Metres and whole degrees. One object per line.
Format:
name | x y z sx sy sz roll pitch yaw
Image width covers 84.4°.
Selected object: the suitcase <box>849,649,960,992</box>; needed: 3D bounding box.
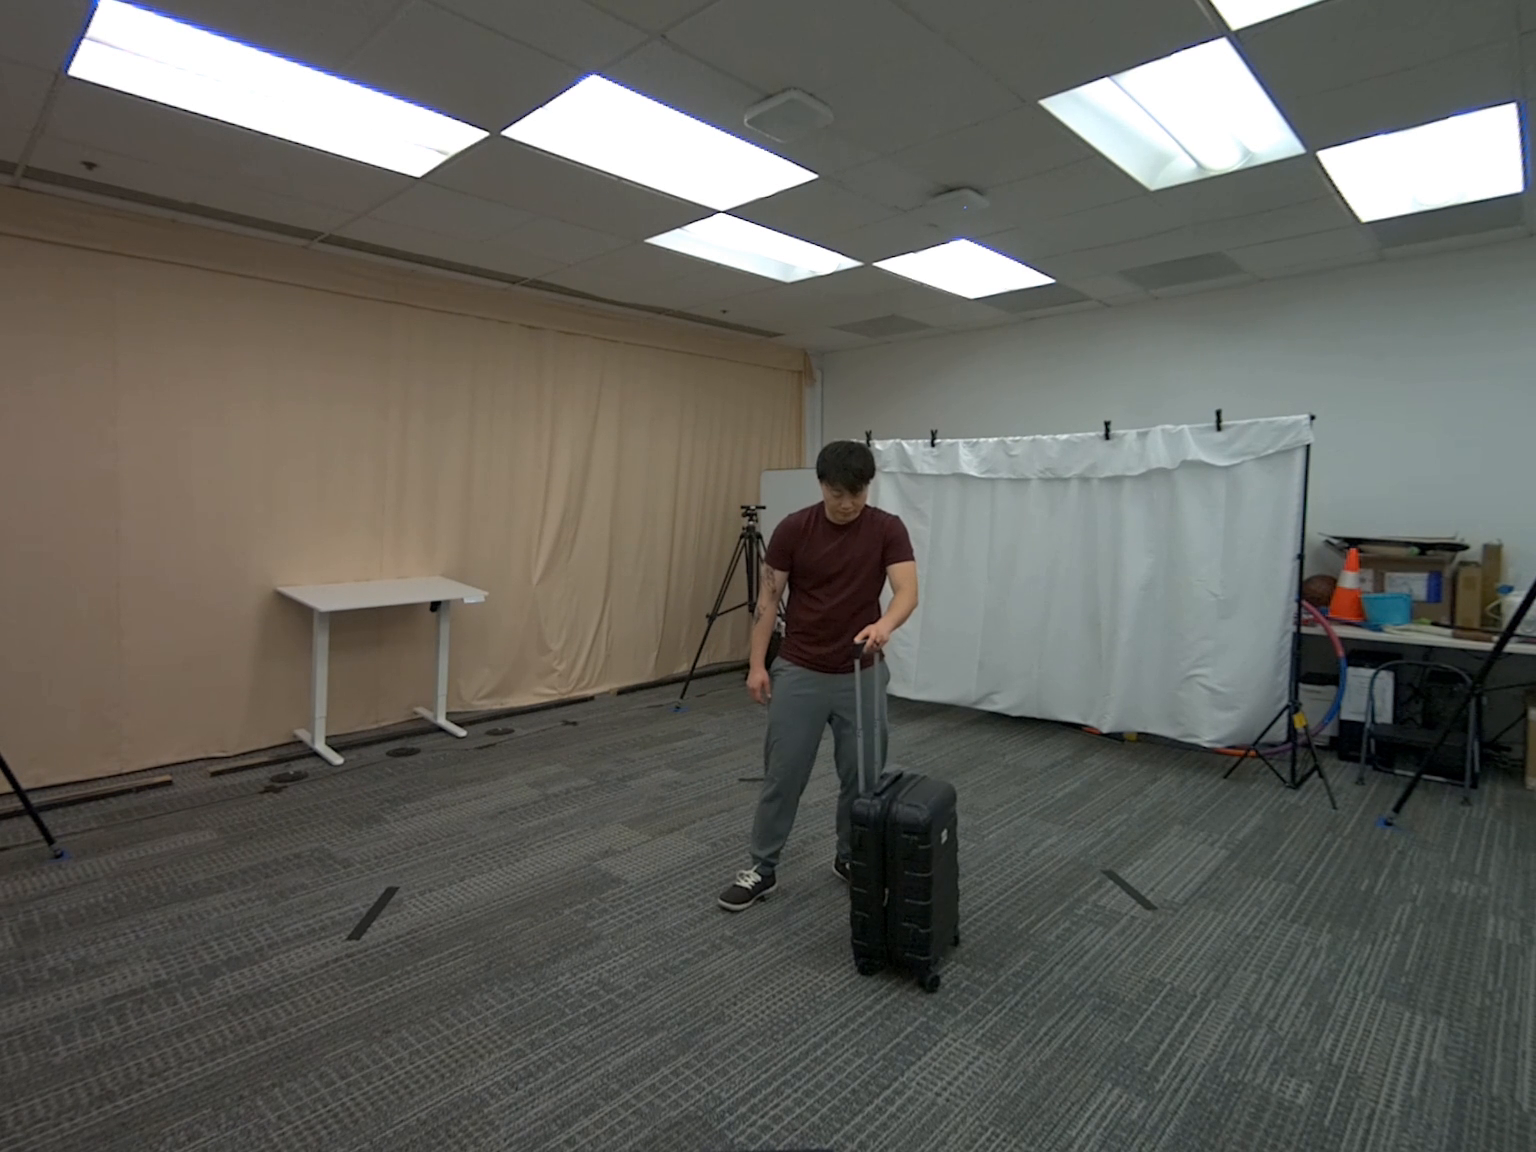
suitcase | 0.435 0.704 2.552 0.264 0.975 0.375 4 6 26
